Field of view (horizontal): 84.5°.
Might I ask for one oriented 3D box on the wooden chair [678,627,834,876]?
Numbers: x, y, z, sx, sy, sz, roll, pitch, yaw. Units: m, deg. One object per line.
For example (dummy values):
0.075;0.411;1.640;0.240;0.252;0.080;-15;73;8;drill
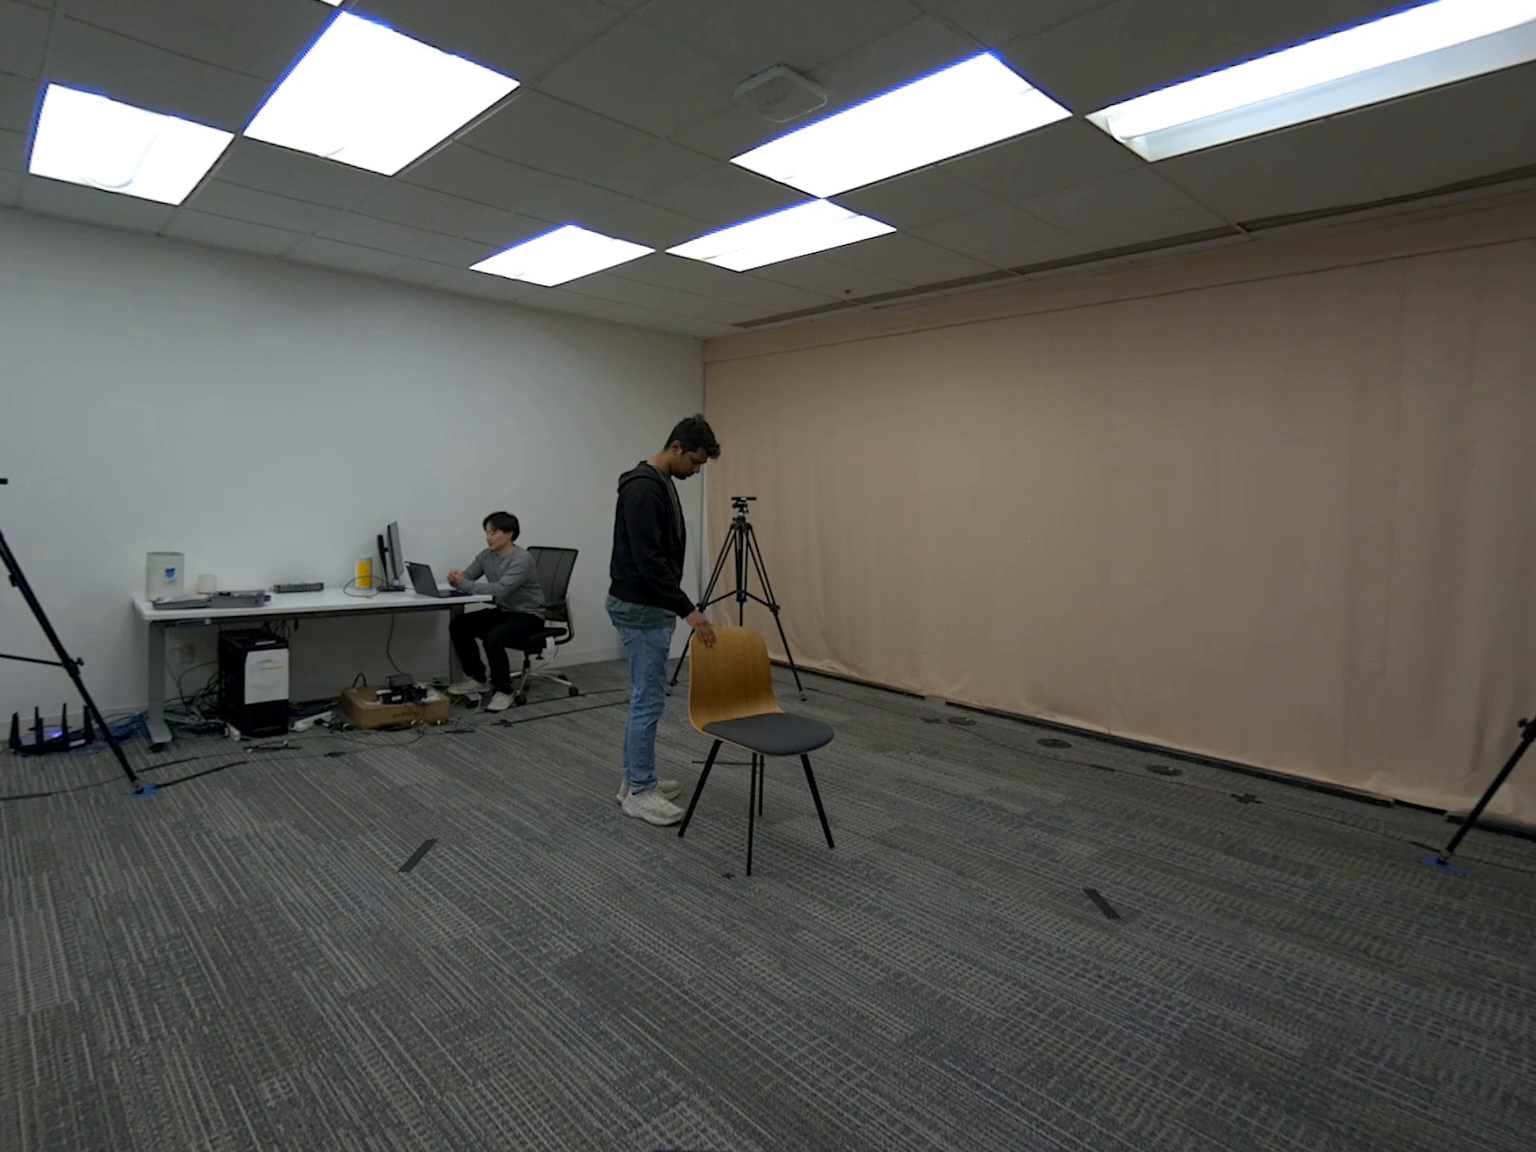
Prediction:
-0.043;0.660;3.377;0.467;0.878;0.535;-1;-1;-39;wooden chair
